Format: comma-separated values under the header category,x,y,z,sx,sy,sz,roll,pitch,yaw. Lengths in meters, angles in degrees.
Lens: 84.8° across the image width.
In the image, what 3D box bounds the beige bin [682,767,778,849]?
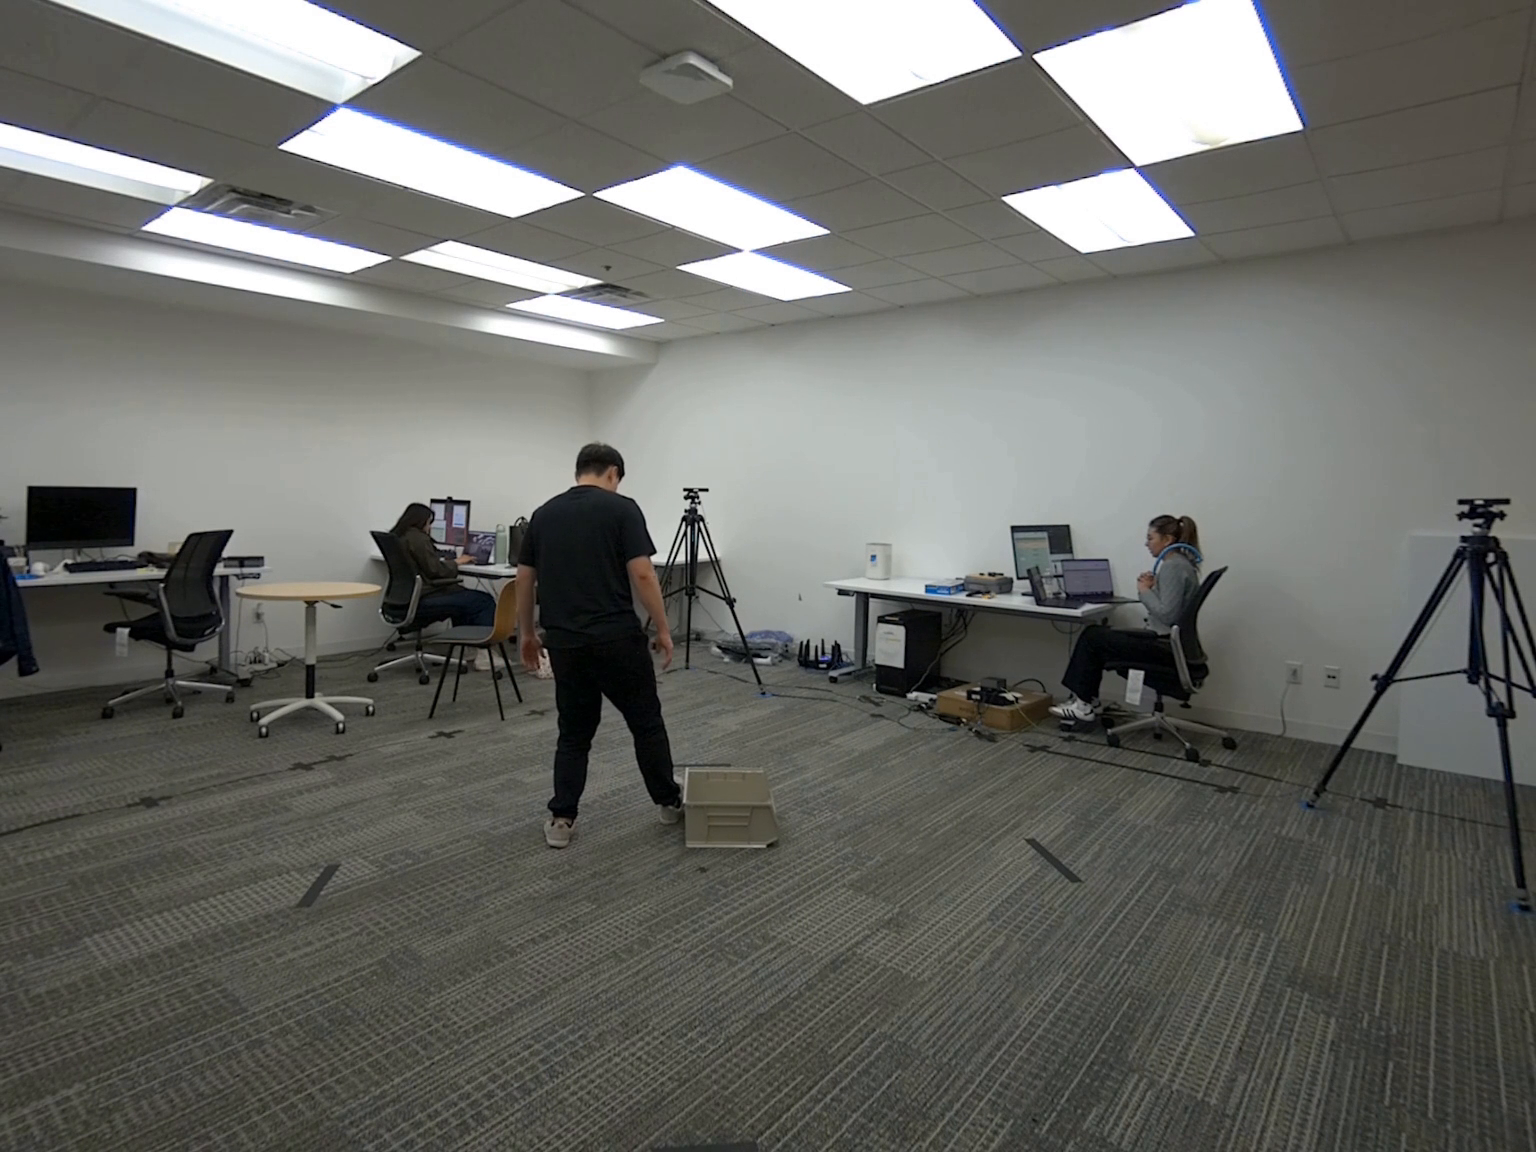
category,x,y,z,sx,sy,sz,roll,pitch,yaw
beige bin,-0.165,0.947,3.499,0.377,0.188,0.425,0,6,-3
